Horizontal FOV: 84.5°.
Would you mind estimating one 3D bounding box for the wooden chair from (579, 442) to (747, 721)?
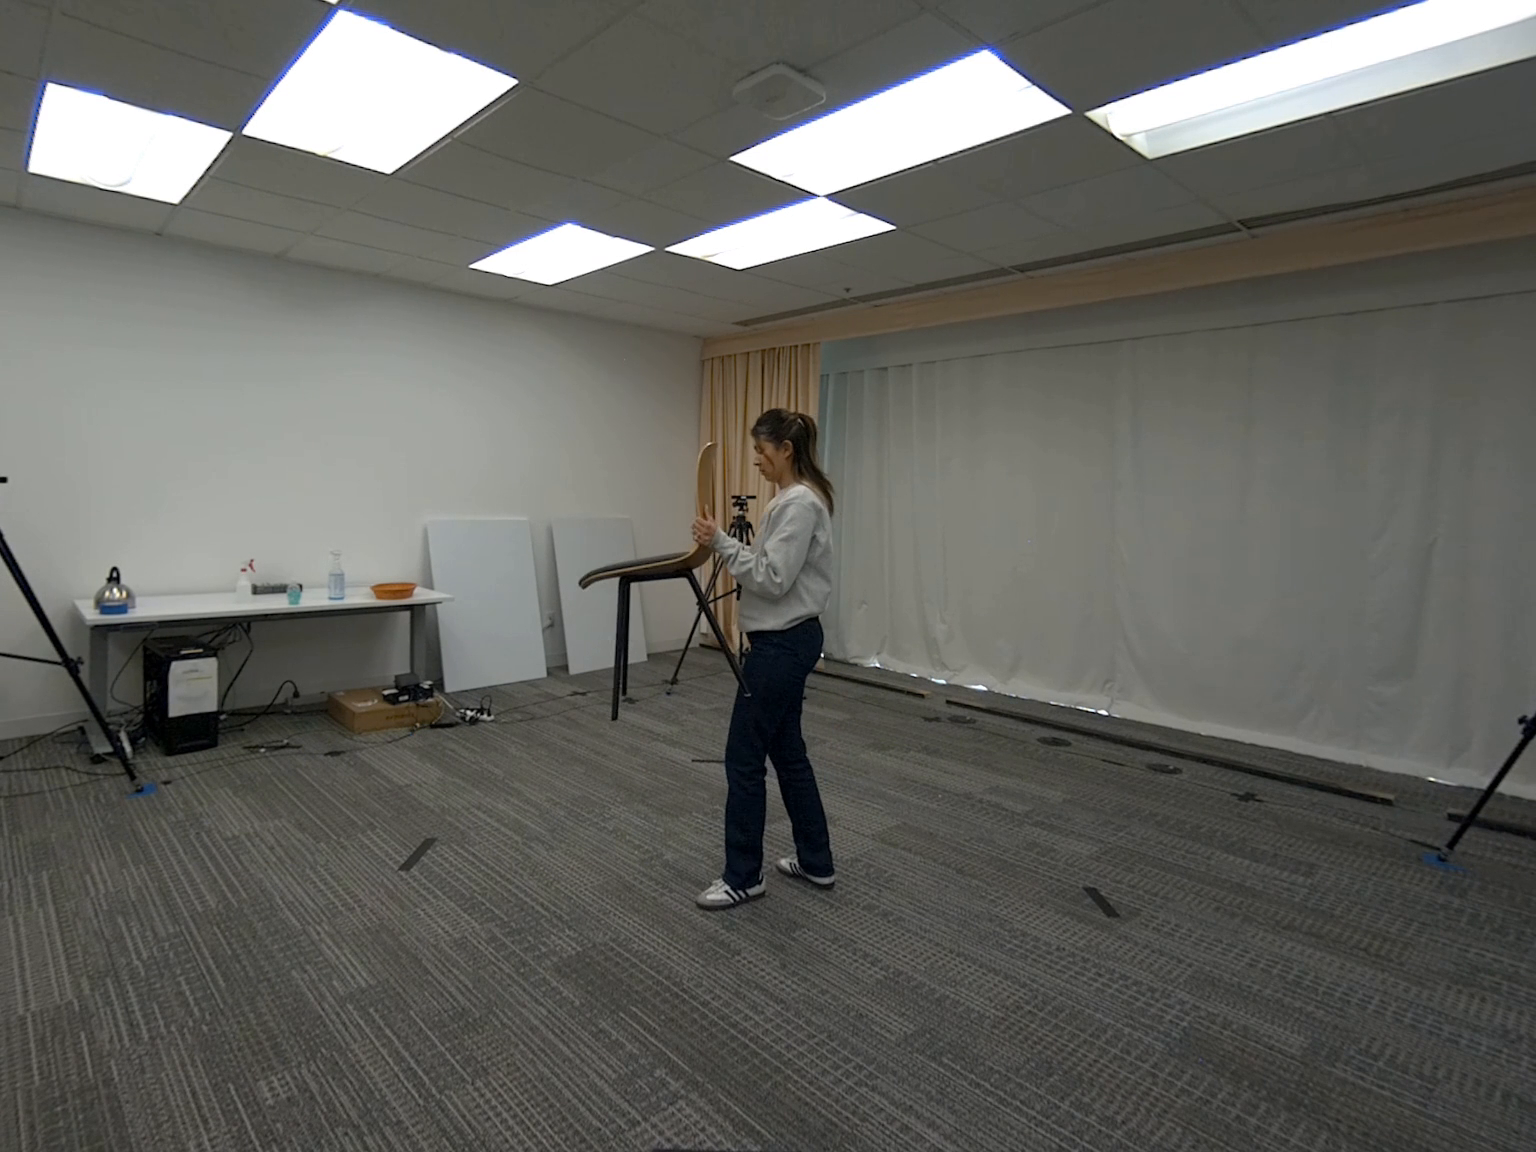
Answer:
[{"bbox_3d":[-0.390,0.004,2.925,0.522,0.875,0.480,-7,3,-4],"label":"wooden chair"}]
